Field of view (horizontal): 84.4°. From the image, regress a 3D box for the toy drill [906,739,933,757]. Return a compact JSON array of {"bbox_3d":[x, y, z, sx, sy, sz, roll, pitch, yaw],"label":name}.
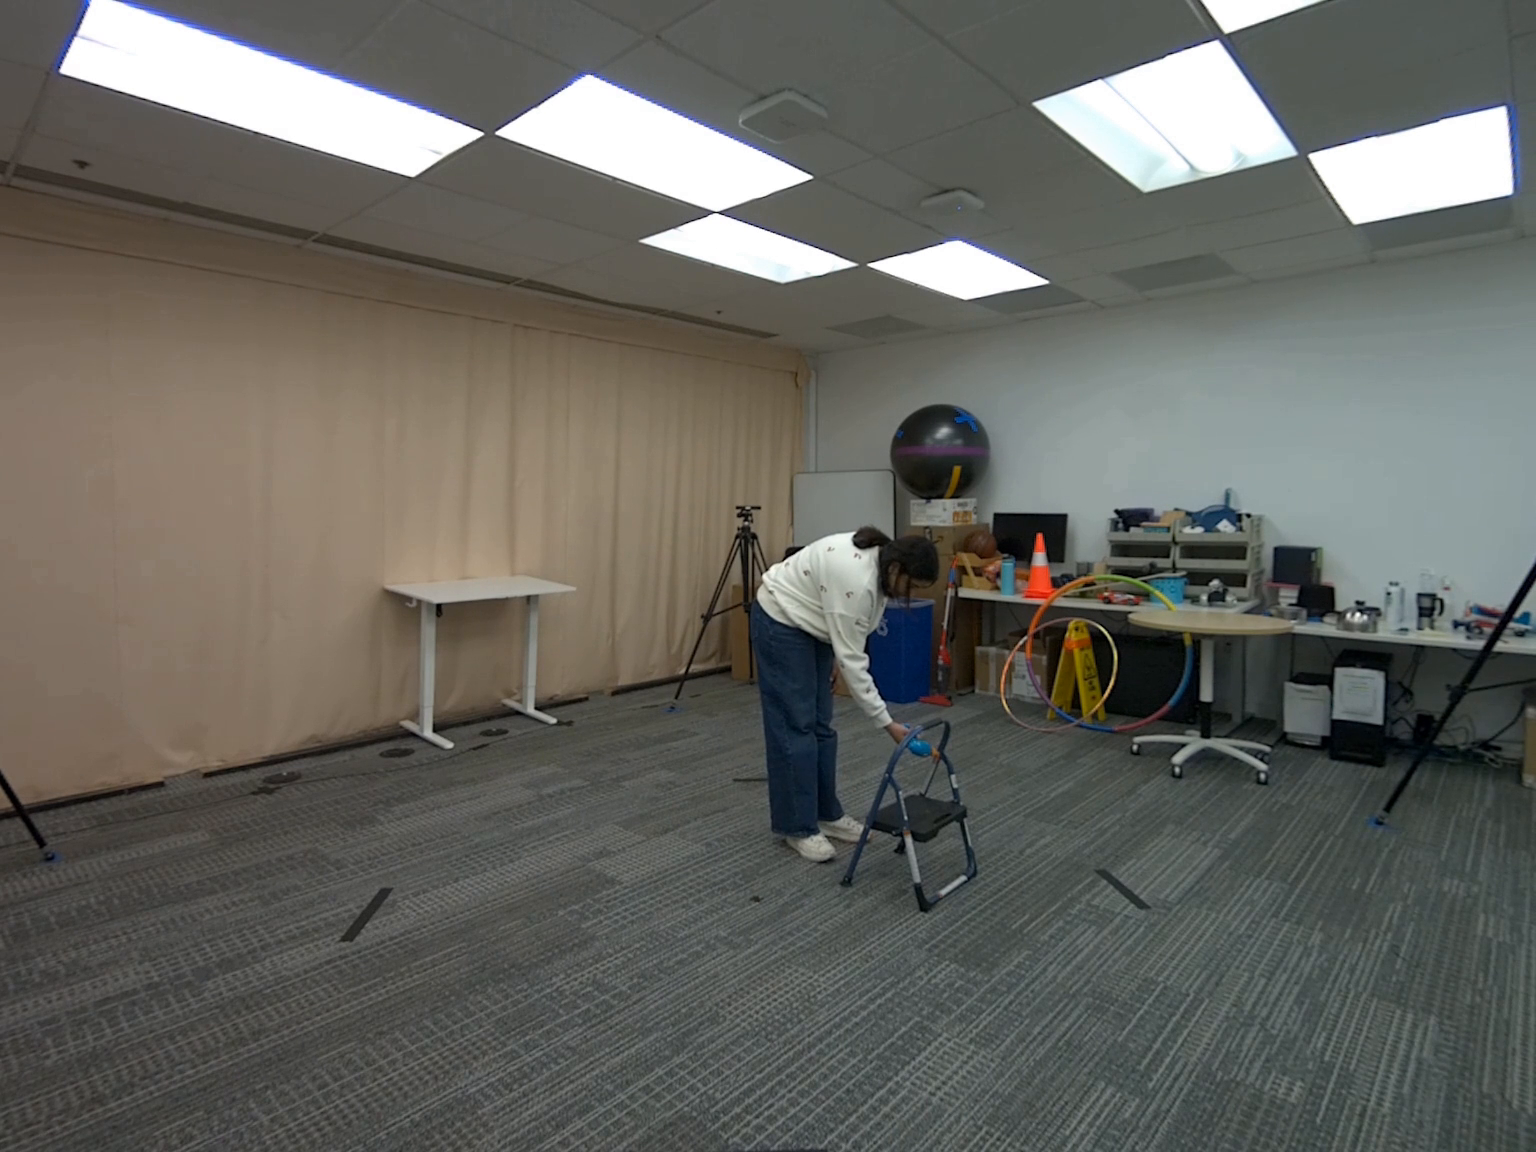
[{"bbox_3d":[0.582,0.642,3.235,0.164,0.061,0.151,21,21,-35],"label":"toy drill"}]
